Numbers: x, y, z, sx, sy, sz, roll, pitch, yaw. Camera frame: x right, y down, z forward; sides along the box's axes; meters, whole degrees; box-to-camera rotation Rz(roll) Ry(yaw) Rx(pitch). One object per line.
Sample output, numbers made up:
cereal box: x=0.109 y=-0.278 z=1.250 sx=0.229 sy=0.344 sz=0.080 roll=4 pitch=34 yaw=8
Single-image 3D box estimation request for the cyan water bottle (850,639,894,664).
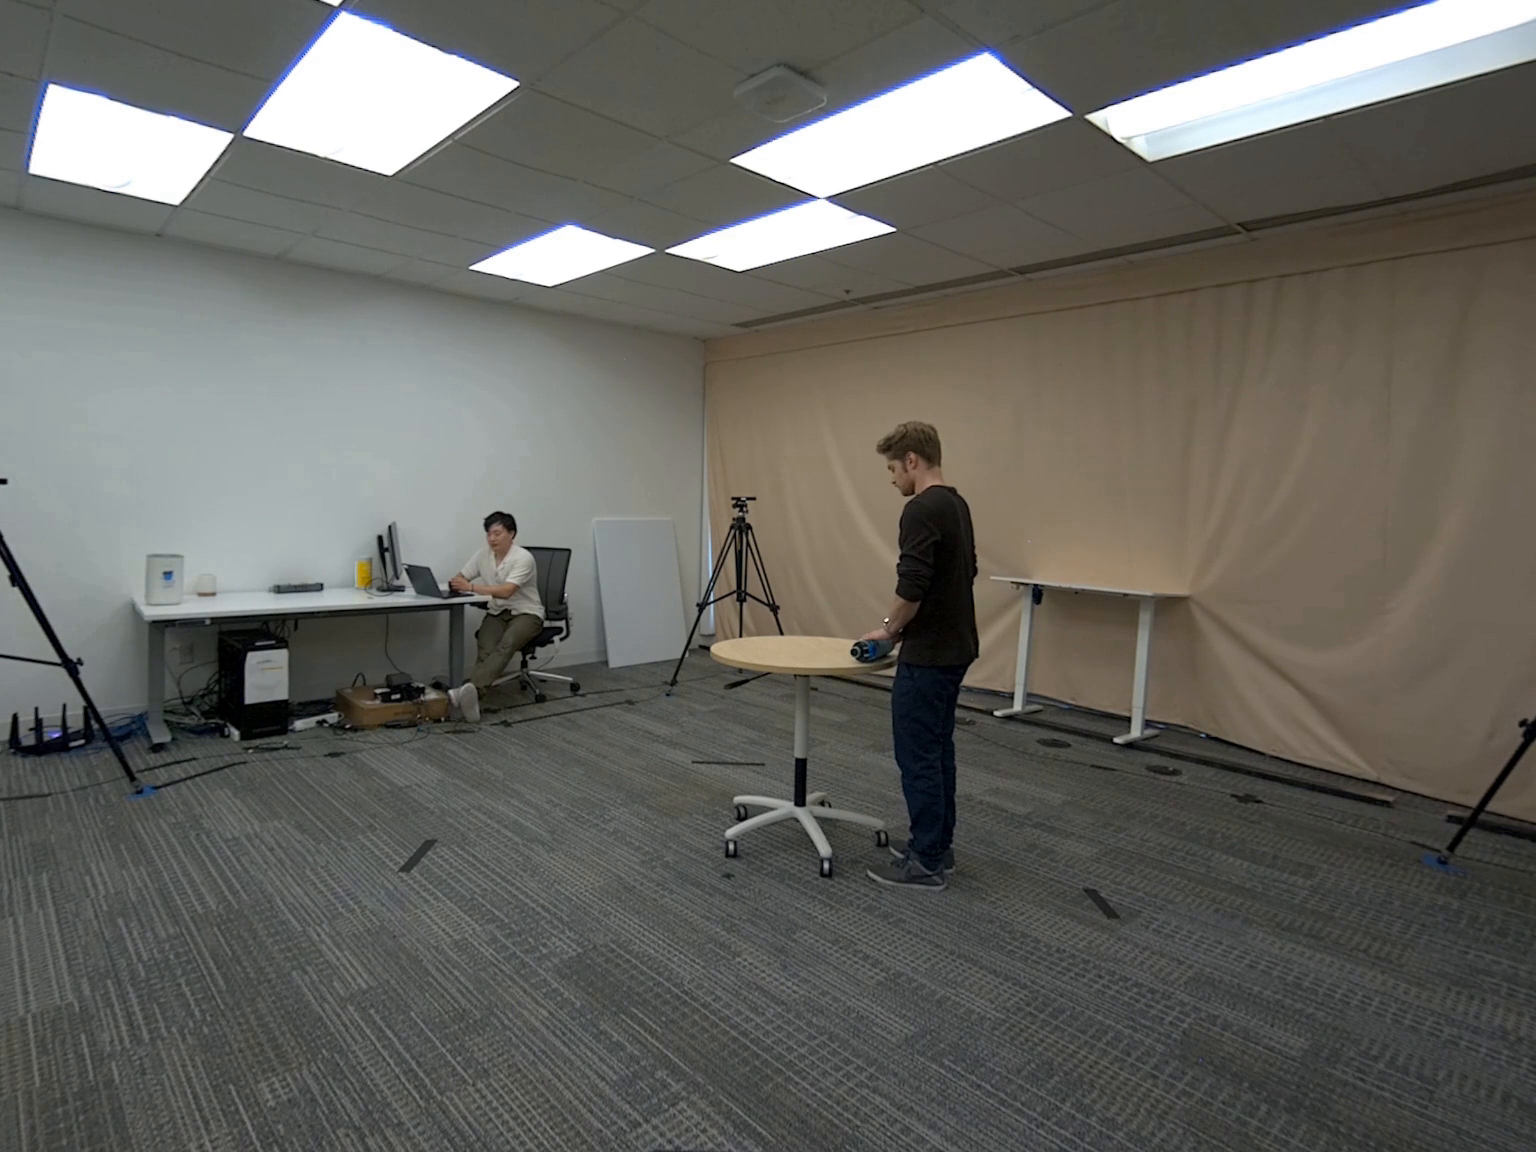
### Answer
cyan water bottle: x=0.397 y=0.275 z=3.265 sx=0.094 sy=0.092 sz=0.278 roll=4 pitch=5 yaw=28
